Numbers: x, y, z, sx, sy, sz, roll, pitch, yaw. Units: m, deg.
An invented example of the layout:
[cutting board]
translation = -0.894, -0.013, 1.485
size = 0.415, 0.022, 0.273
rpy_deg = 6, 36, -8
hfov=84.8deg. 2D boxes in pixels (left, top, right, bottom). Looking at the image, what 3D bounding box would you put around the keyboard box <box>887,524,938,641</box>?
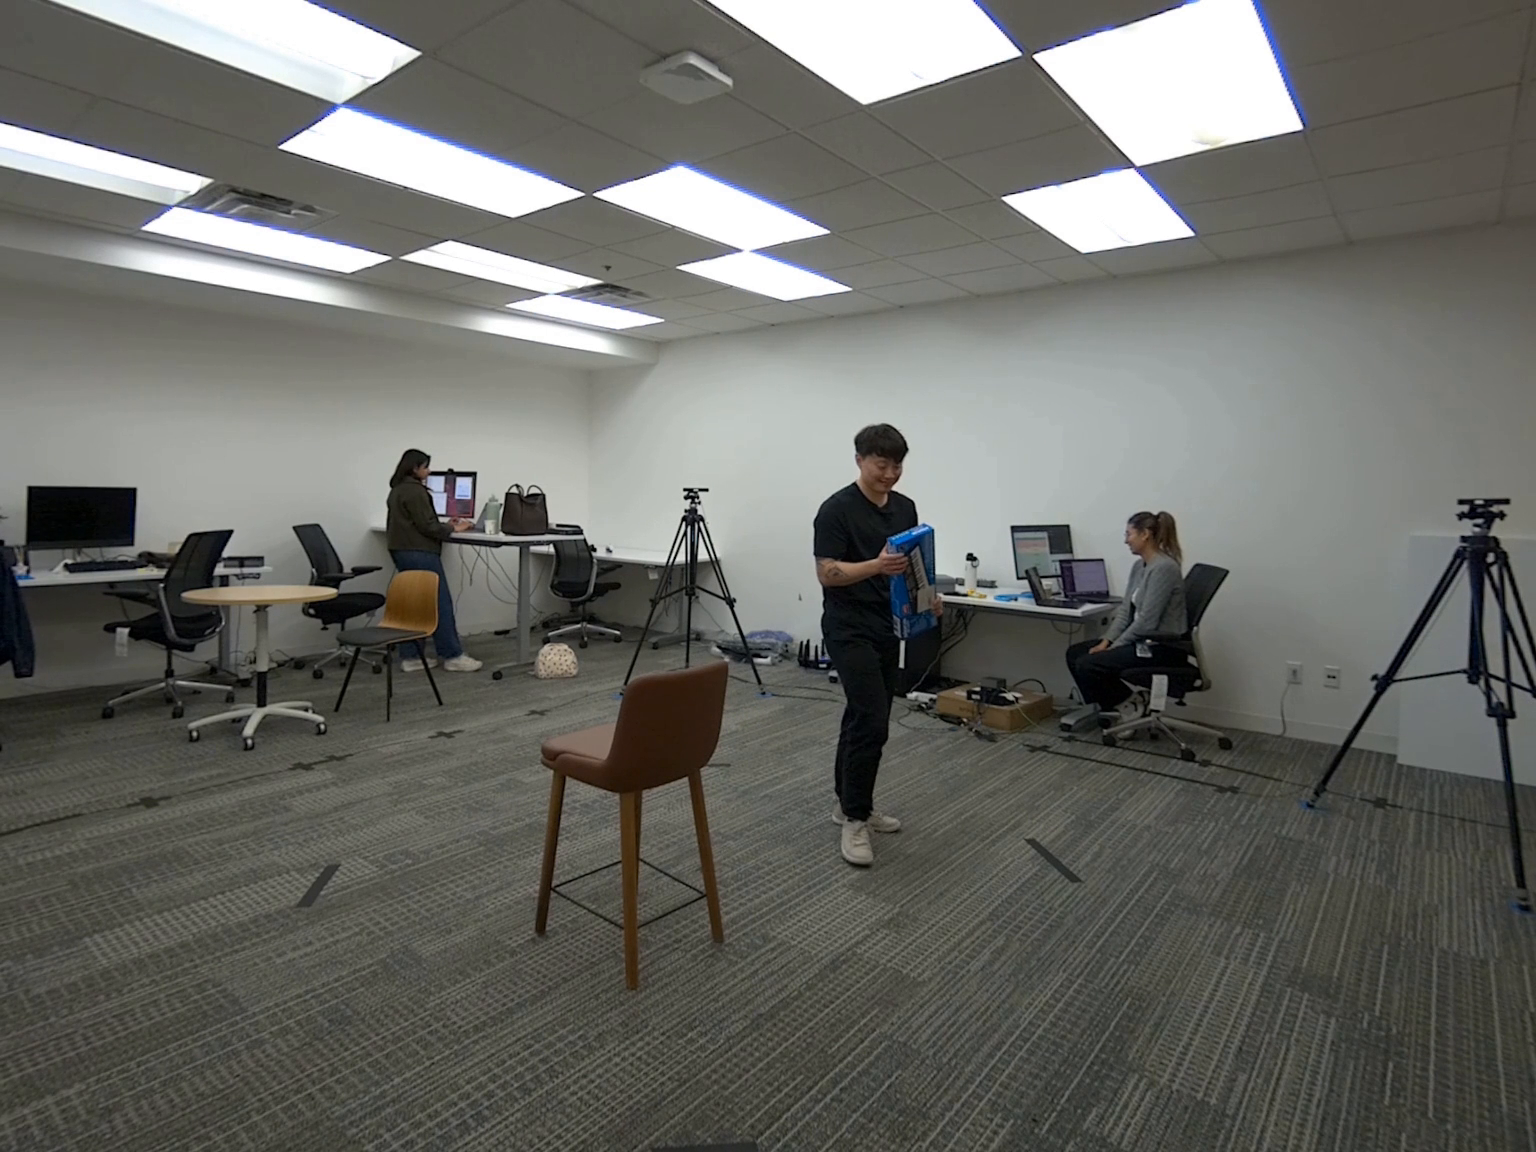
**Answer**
[keyboard box]
translation = 0.544, 0.021, 3.211
size = 0.174, 0.424, 0.061
rpy_deg = -21, 31, -19
